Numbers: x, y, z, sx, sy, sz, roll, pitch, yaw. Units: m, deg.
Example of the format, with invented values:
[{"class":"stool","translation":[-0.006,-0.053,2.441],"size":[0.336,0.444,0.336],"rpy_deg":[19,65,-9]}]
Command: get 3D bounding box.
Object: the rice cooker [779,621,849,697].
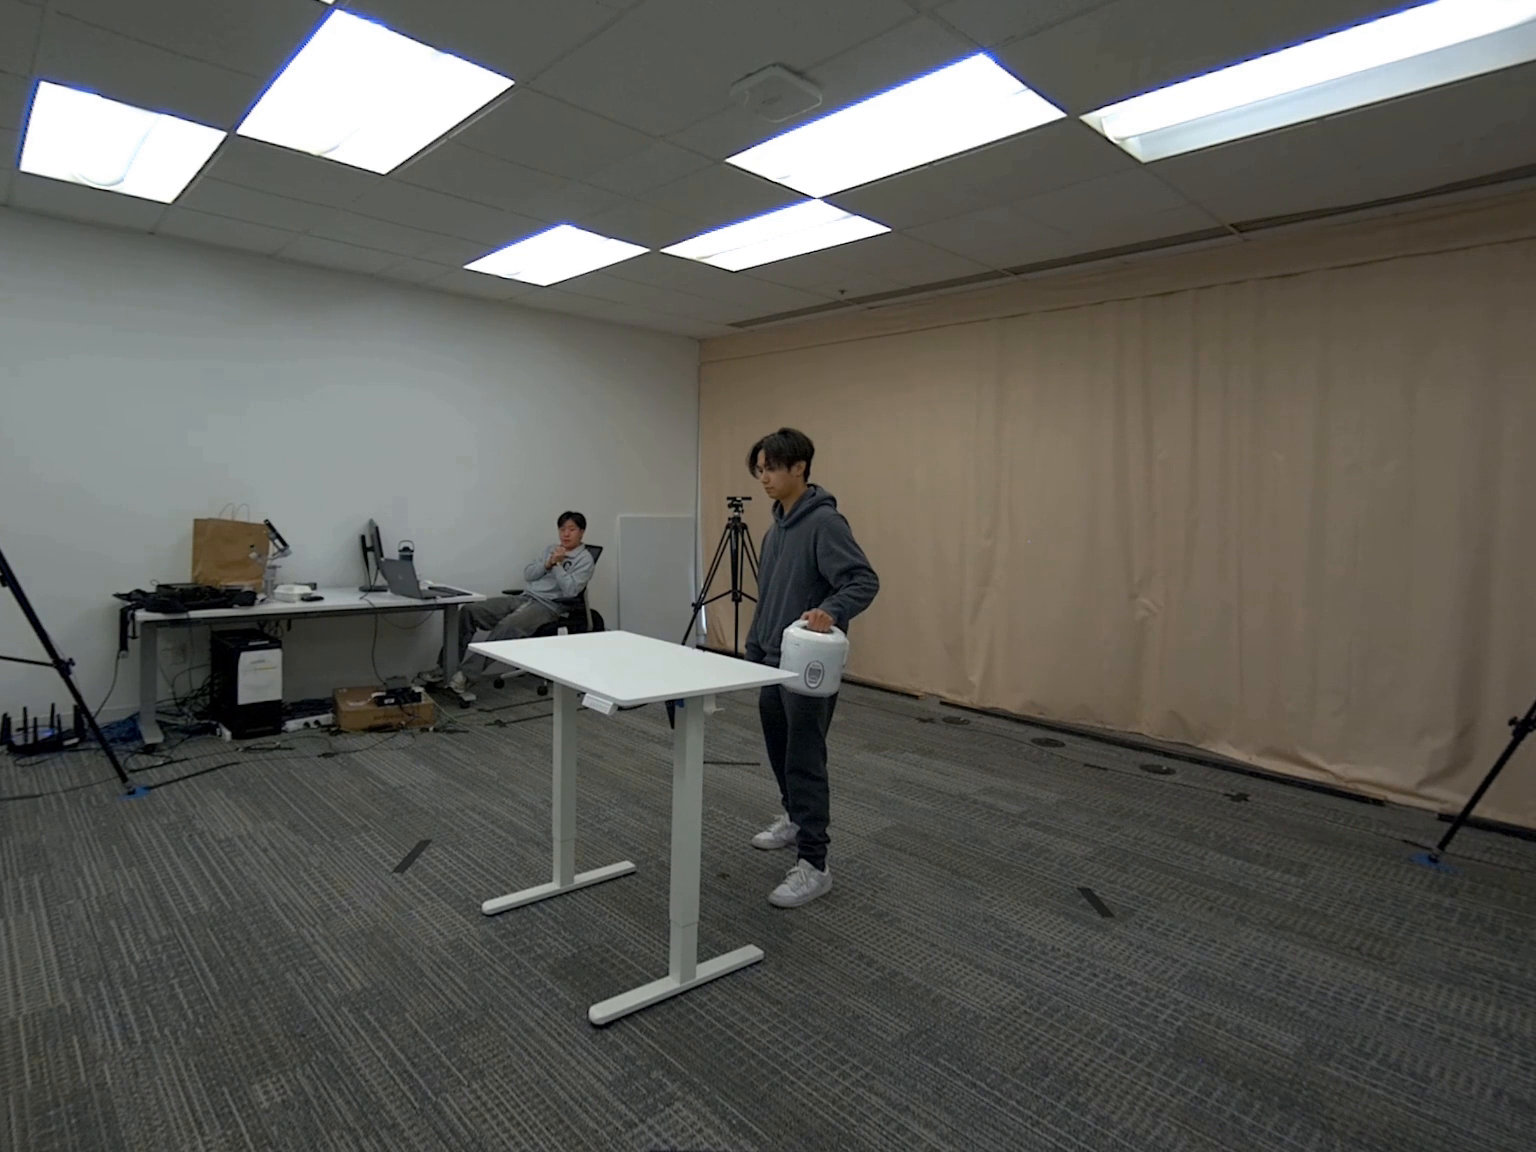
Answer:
[{"class":"rice cooker","translation":[0.138,0.263,2.756],"size":[0.220,0.232,0.218],"rpy_deg":[8,5,-3]}]
